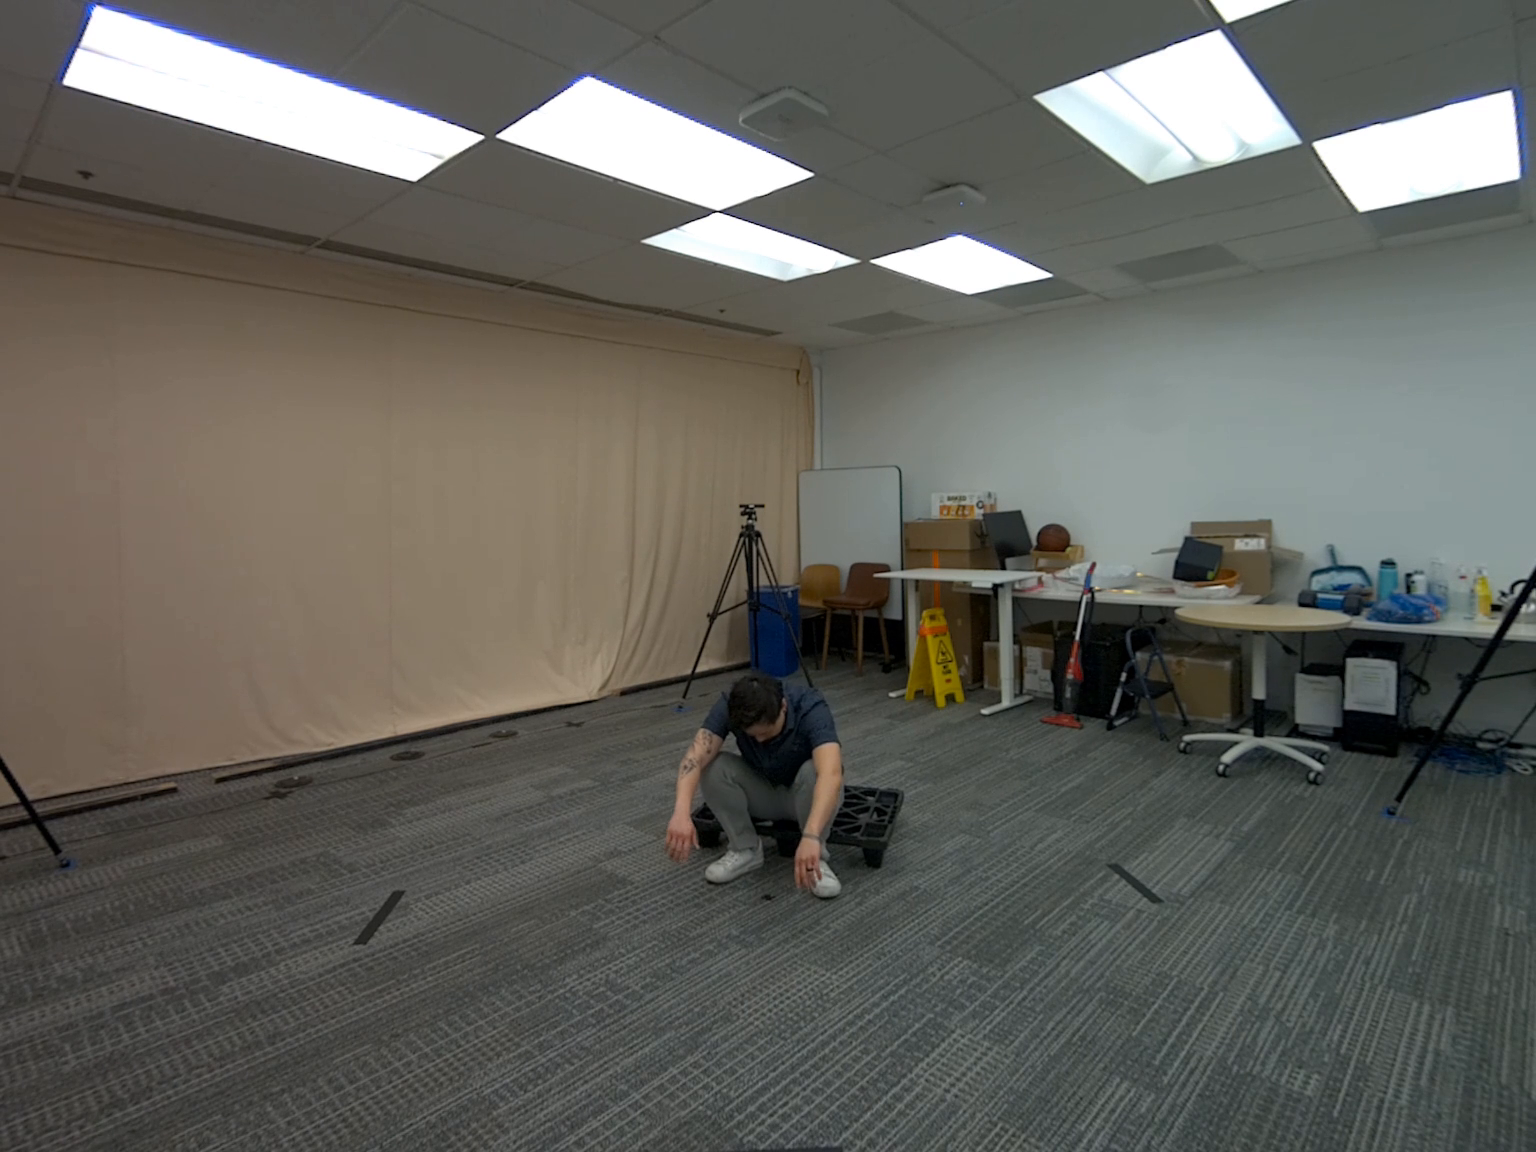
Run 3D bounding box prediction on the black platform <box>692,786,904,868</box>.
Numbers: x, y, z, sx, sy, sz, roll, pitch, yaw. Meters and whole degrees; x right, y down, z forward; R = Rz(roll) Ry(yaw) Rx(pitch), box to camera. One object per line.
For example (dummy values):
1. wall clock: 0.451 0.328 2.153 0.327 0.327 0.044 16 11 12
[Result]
1. black platform: 0.142 1.023 3.531 0.821 0.143 0.595 0 5 17
